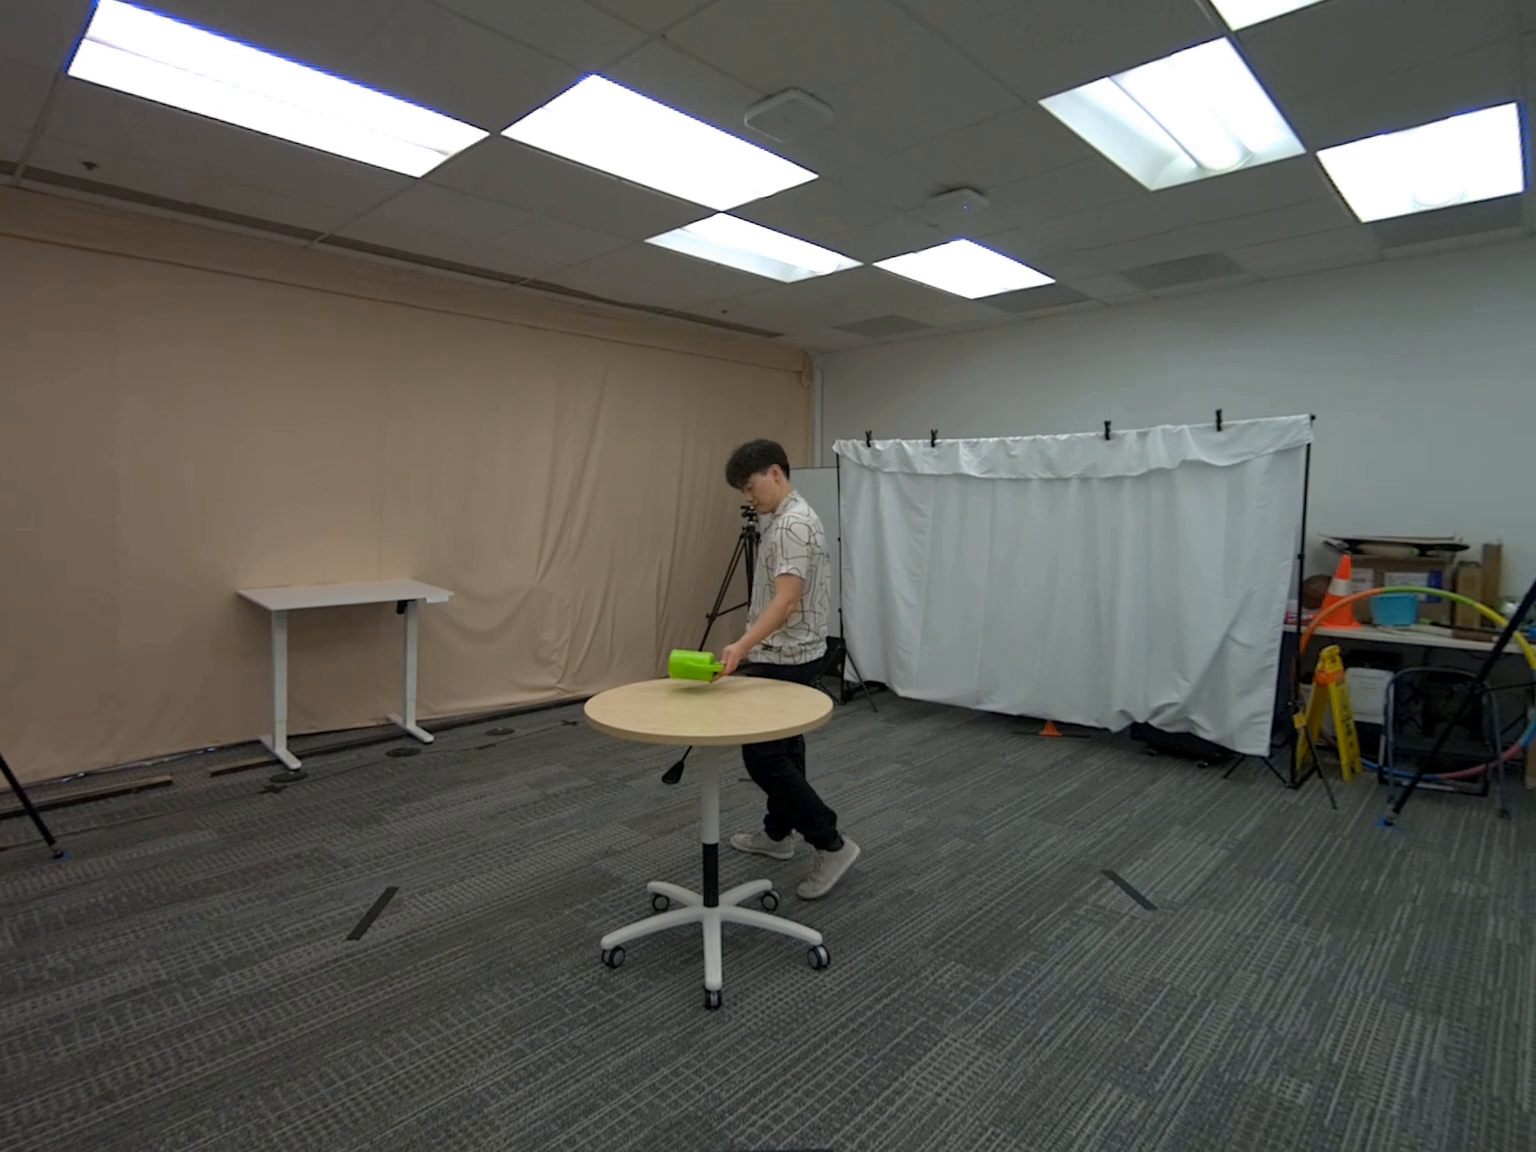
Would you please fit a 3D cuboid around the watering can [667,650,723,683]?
[{"bbox_3d":[-0.230,0.309,2.797,0.178,0.099,0.273,4,-16,6],"label":"watering can"}]
